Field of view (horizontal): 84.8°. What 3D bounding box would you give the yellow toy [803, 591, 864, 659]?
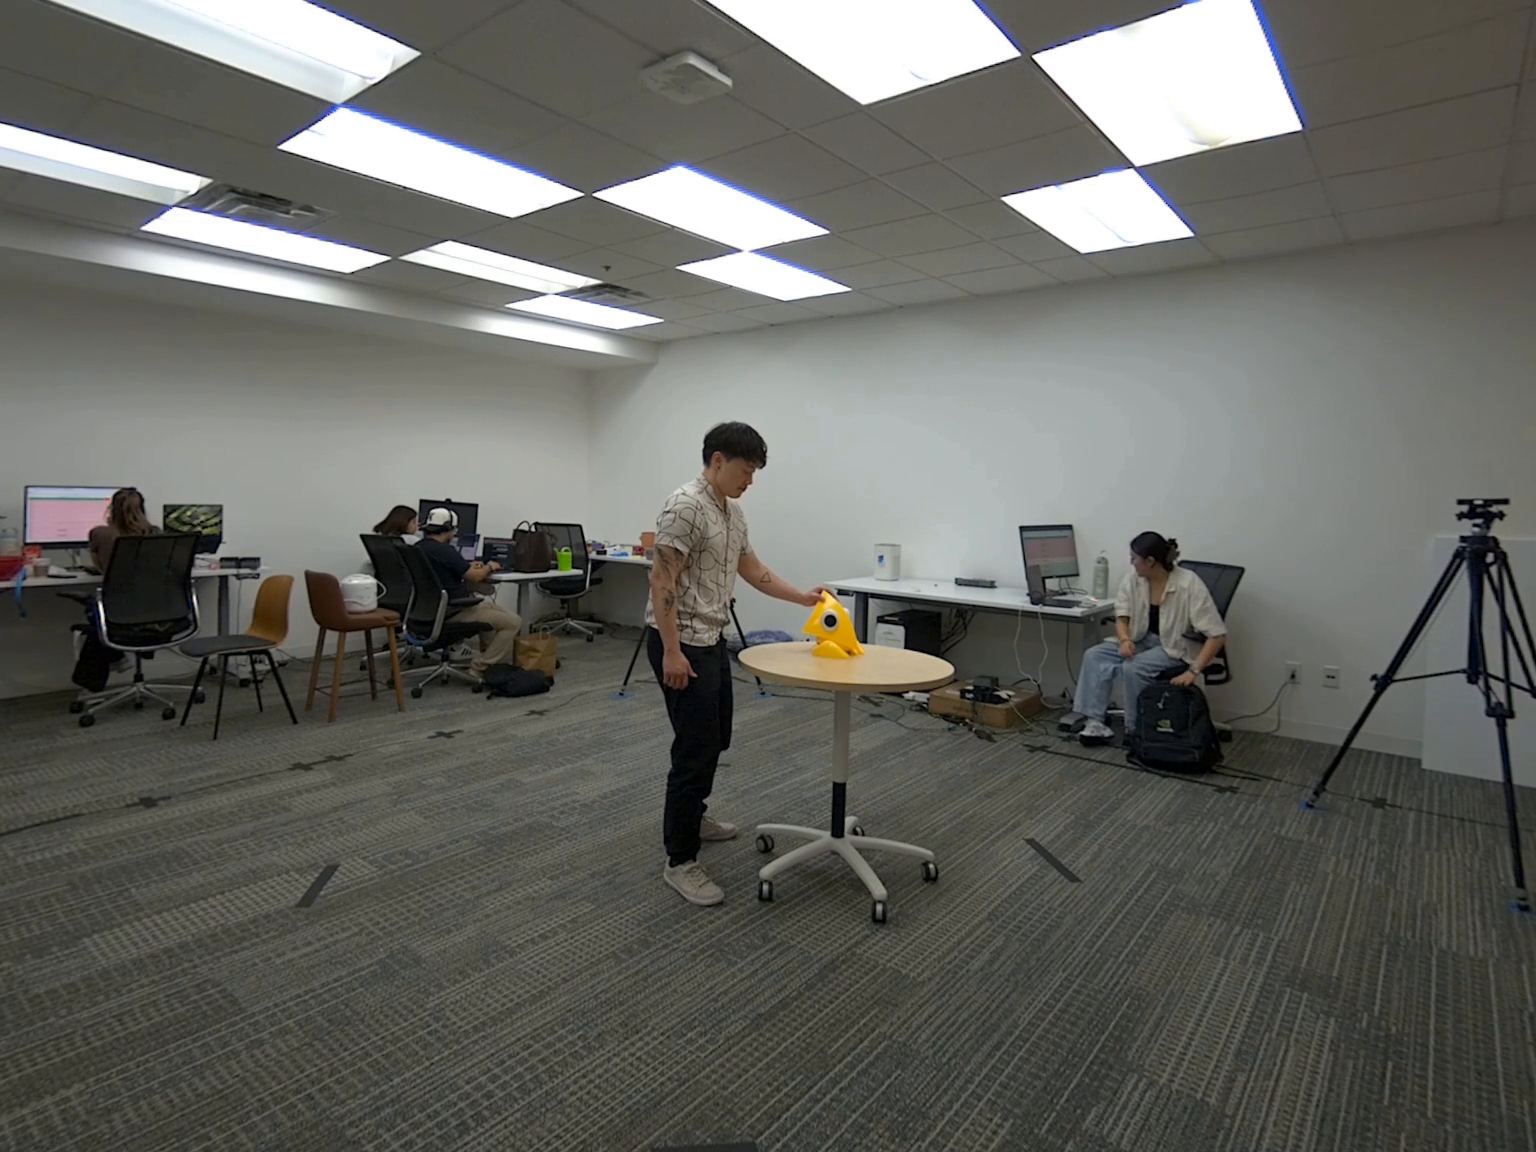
[{"bbox_3d":[0.249,0.176,3.197,0.199,0.230,0.199,4,4,37],"label":"yellow toy"}]
